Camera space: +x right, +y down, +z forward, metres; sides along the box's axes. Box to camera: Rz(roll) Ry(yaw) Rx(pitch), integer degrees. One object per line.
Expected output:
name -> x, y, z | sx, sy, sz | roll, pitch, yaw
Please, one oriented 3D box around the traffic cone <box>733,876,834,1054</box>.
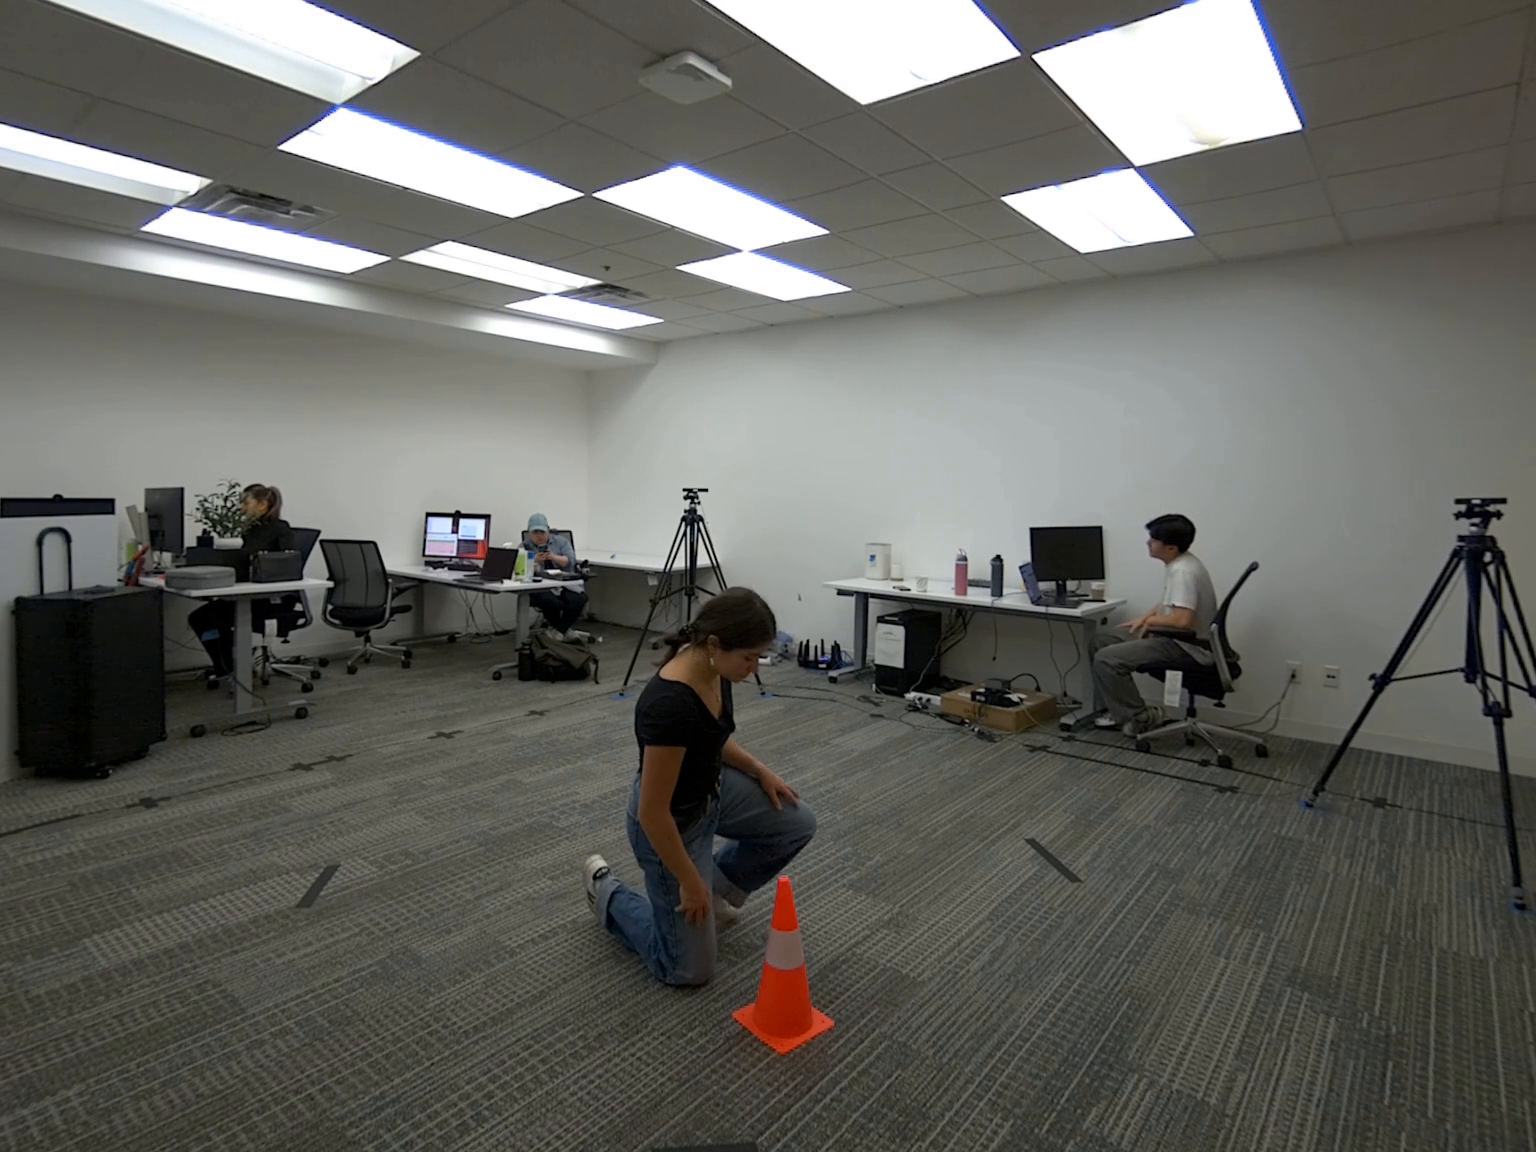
traffic cone -> 0.041, 0.972, 2.225 | 0.199, 0.382, 0.210 | -4, 5, -34
